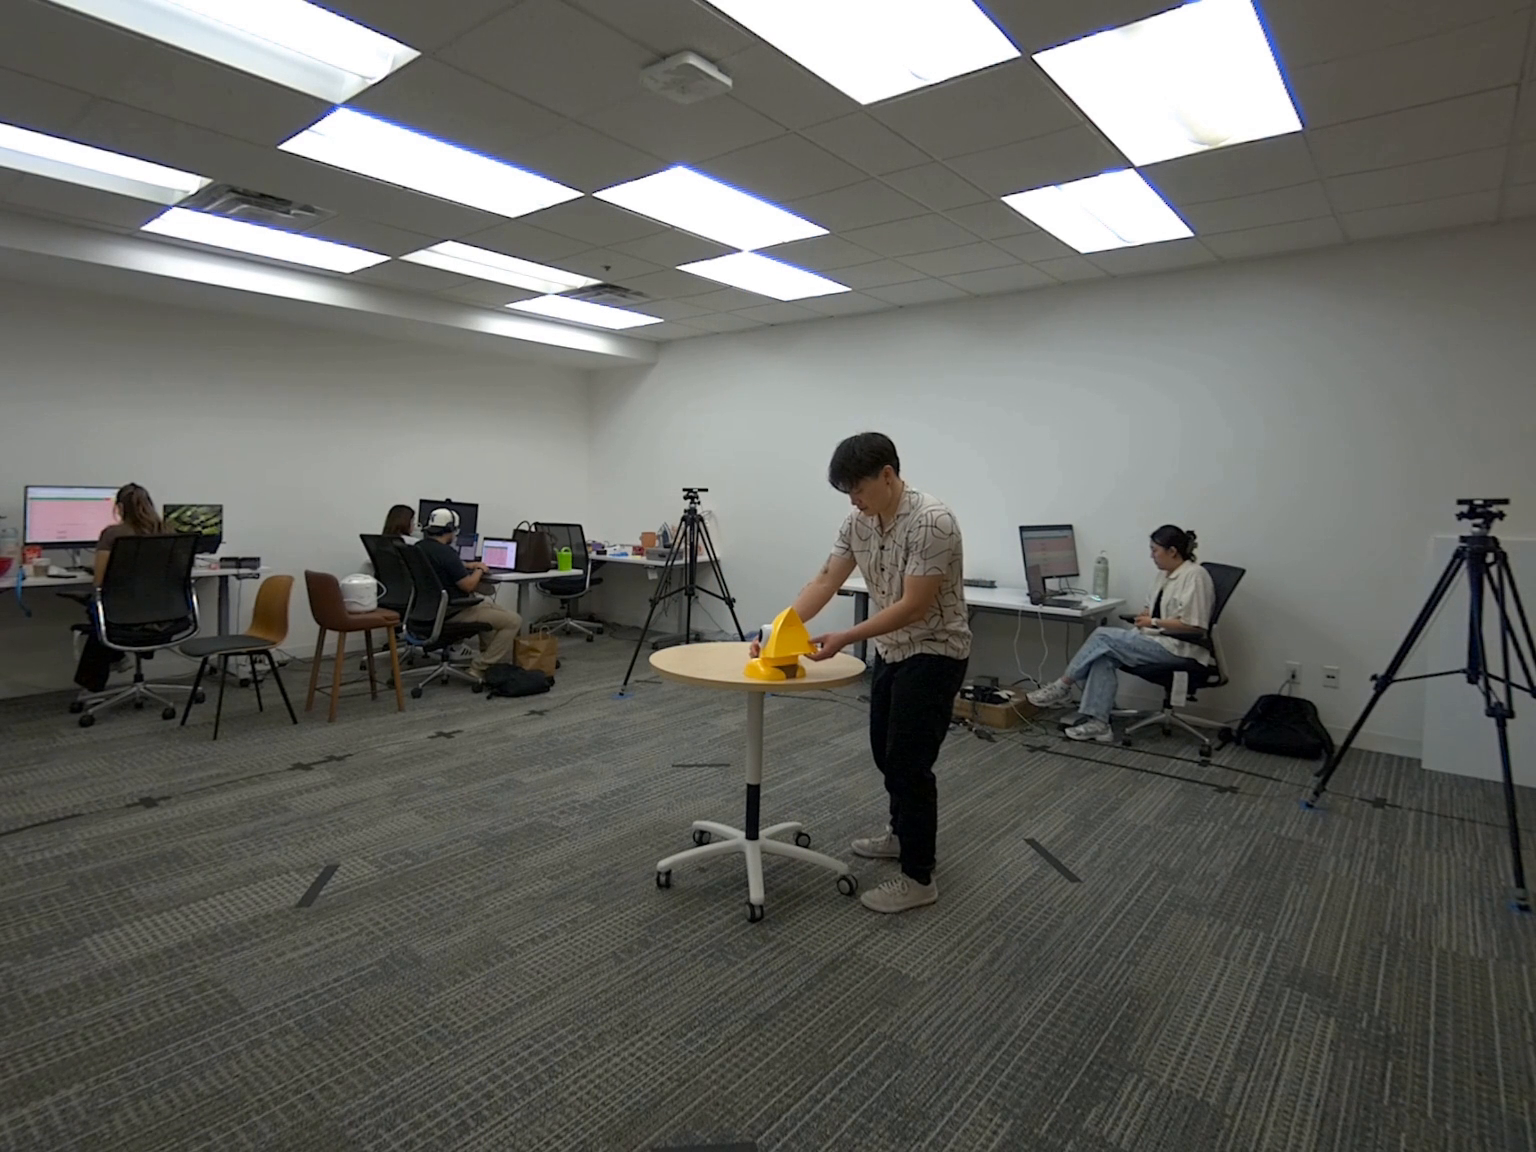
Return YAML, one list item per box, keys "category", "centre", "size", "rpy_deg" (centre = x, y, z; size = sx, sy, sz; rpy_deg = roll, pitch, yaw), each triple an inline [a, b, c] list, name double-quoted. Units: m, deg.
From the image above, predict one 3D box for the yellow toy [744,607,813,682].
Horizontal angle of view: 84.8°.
- category: "yellow toy"
  centre: [0.023, 0.206, 2.786]
  size: [0.198, 0.230, 0.199]
  rpy_deg: [-1, 3, -42]
